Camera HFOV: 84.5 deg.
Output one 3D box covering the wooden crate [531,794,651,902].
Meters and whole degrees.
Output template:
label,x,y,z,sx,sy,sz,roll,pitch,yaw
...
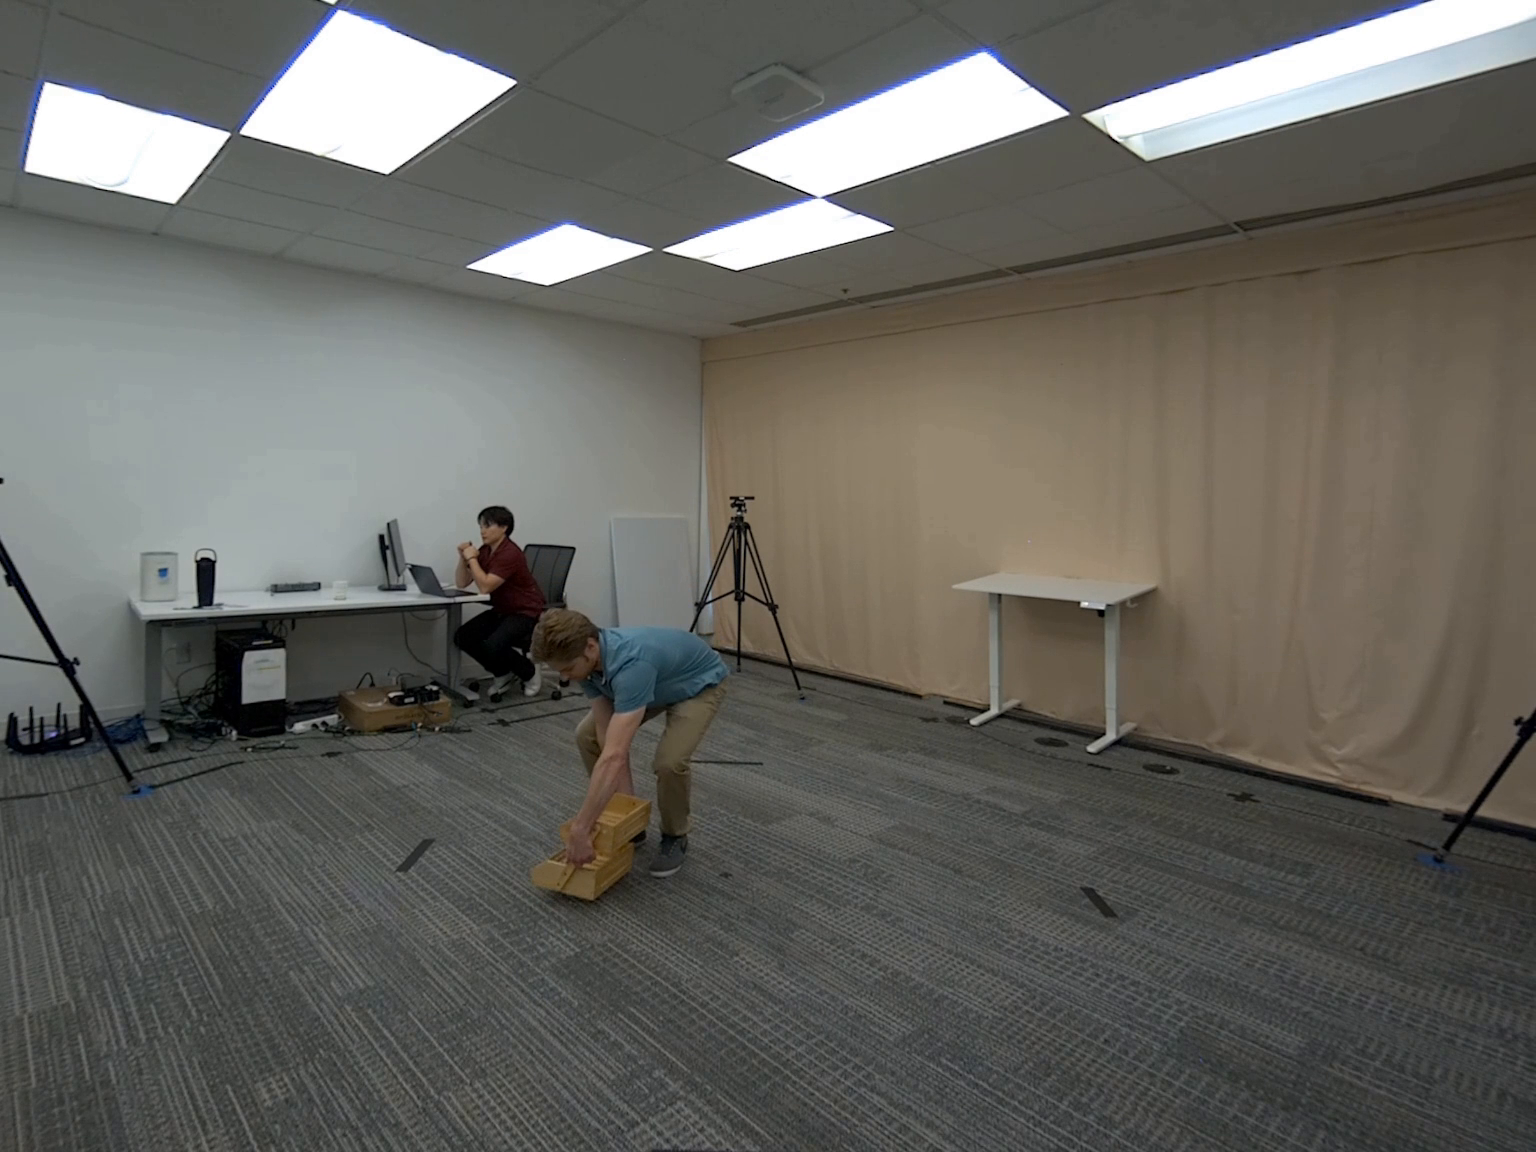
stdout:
label,x,y,z,sx,sy,sz,roll,pitch,yaw
wooden crate,-0.640,0.933,2.960,0.307,0.273,0.320,6,3,18
